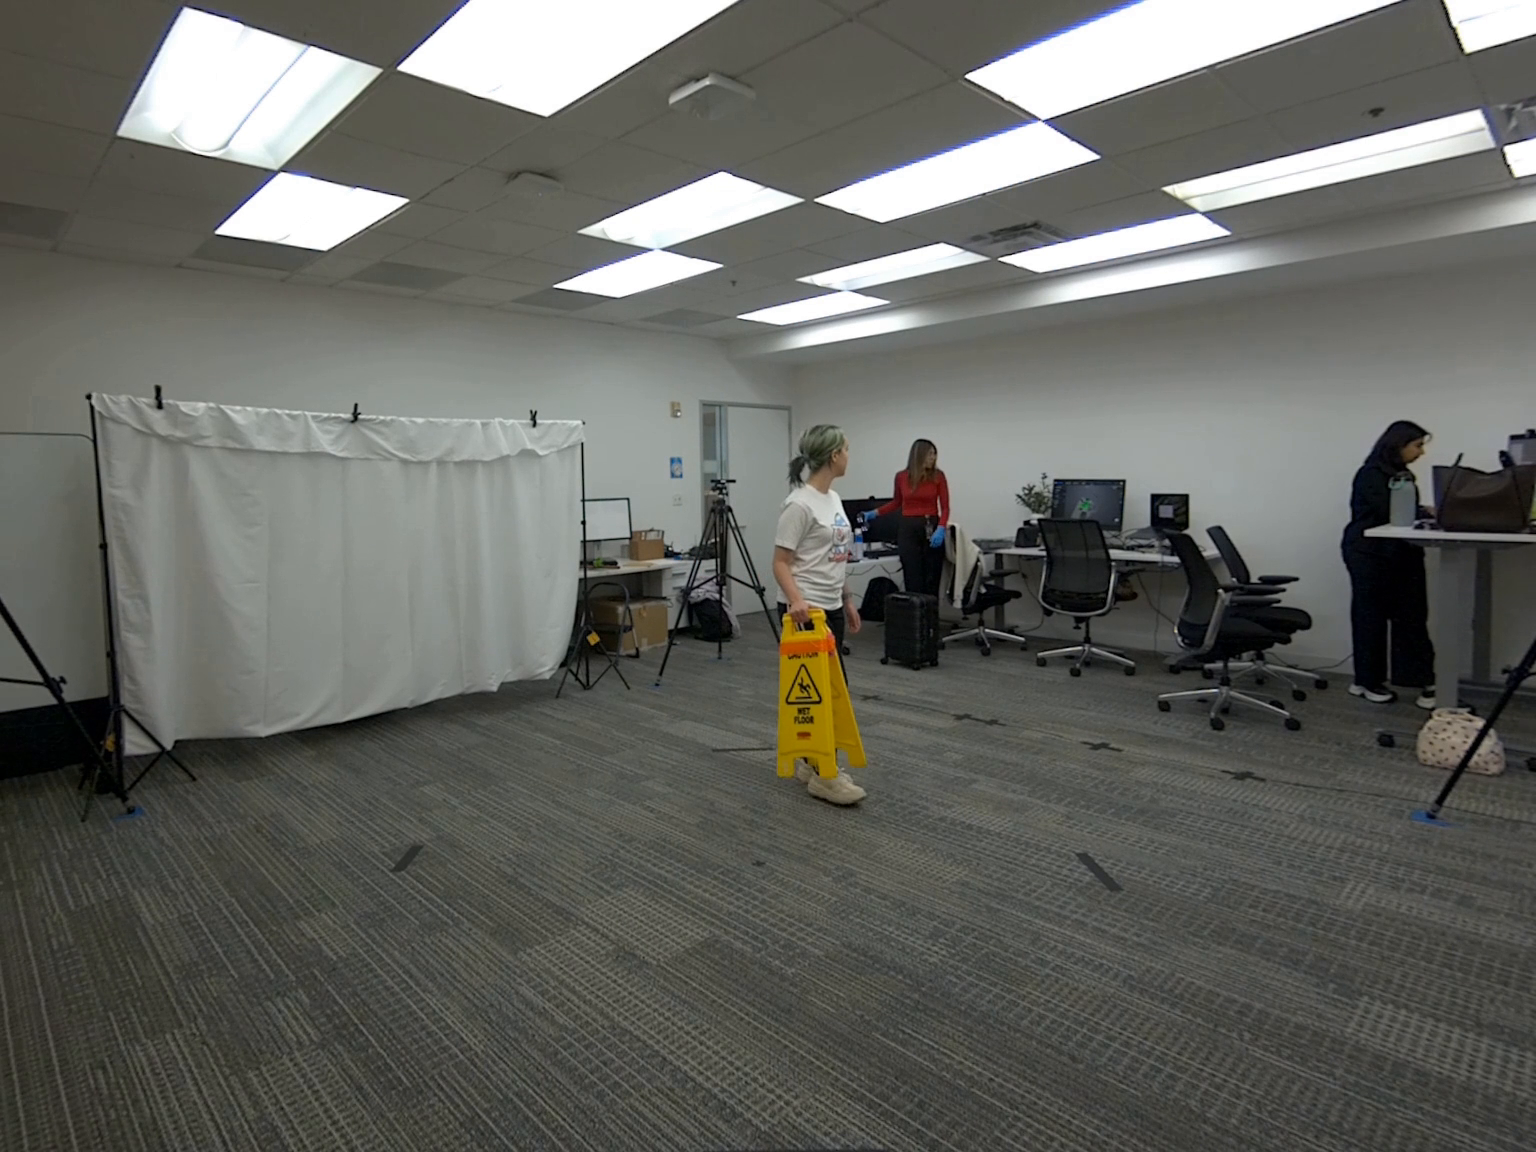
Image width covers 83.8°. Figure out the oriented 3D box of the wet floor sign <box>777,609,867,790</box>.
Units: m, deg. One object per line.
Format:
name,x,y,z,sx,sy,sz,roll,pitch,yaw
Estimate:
wet floor sign,0.181,0.473,3.492,0.288,0.649,0.282,-11,-6,38
